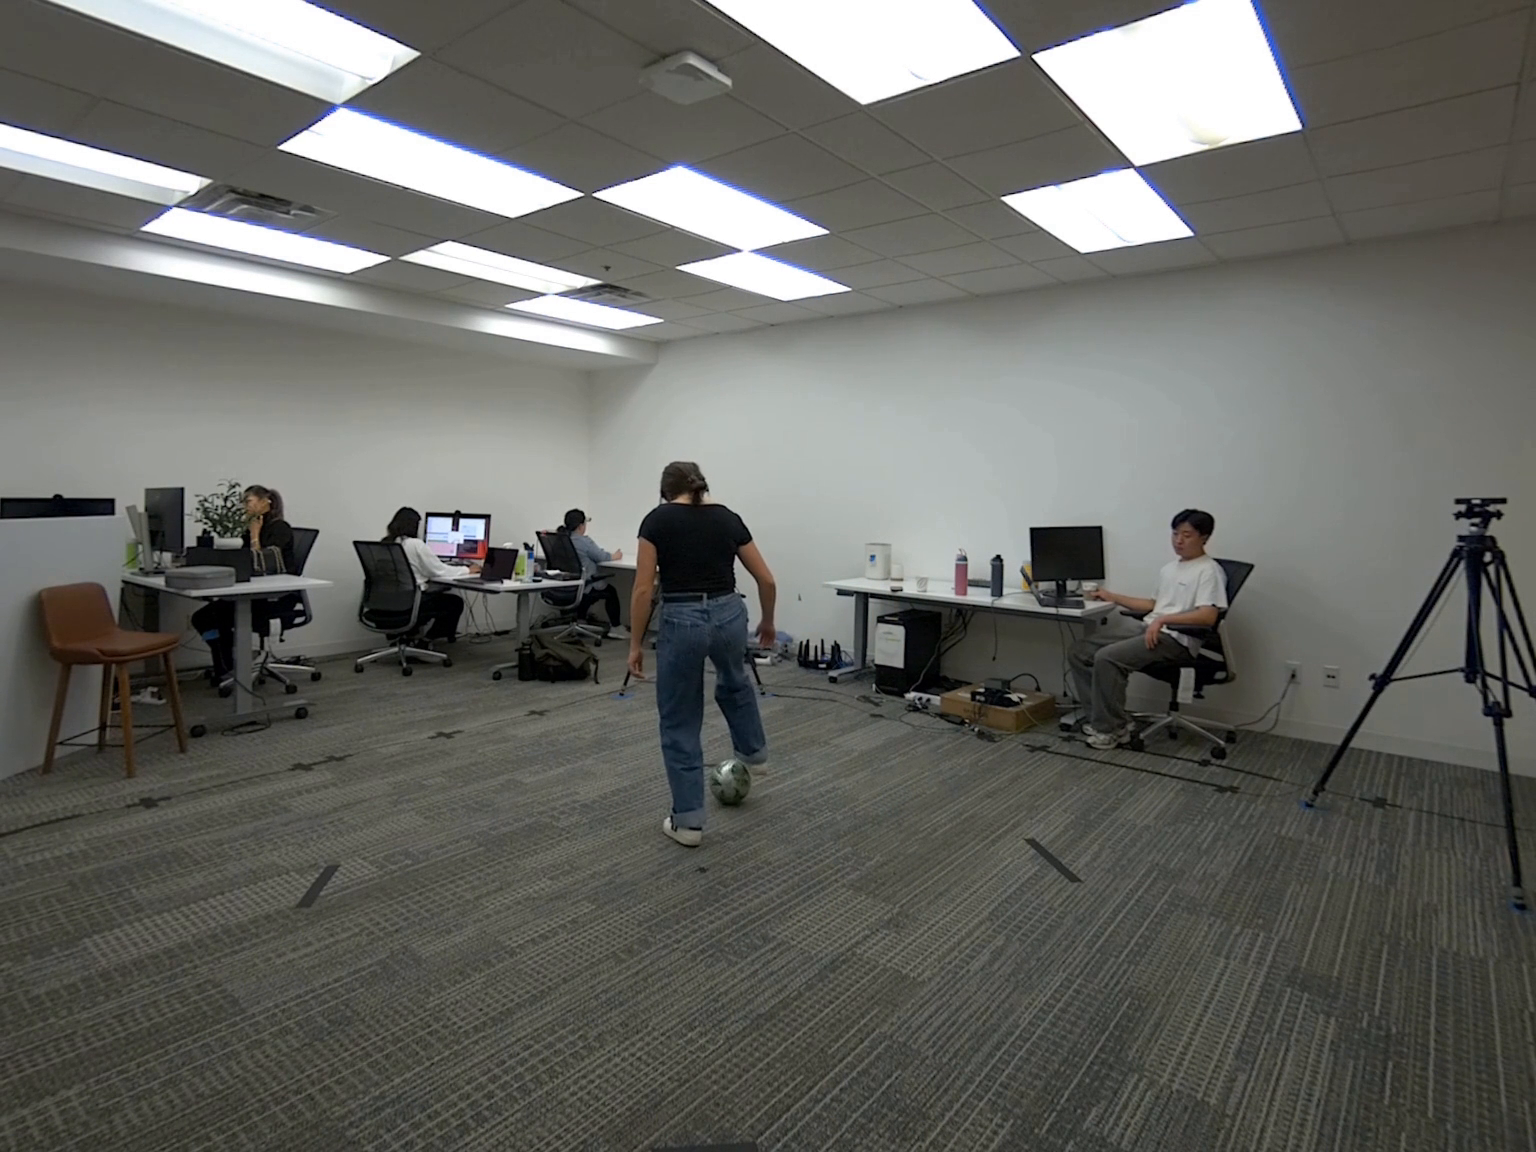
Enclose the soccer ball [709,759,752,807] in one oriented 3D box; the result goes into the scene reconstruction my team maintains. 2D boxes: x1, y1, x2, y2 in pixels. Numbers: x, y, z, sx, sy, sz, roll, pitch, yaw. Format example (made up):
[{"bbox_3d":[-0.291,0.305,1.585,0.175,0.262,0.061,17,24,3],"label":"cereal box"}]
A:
[{"bbox_3d":[-0.166,0.907,3.782,0.187,0.187,0.188,1,4,-2],"label":"soccer ball"}]
